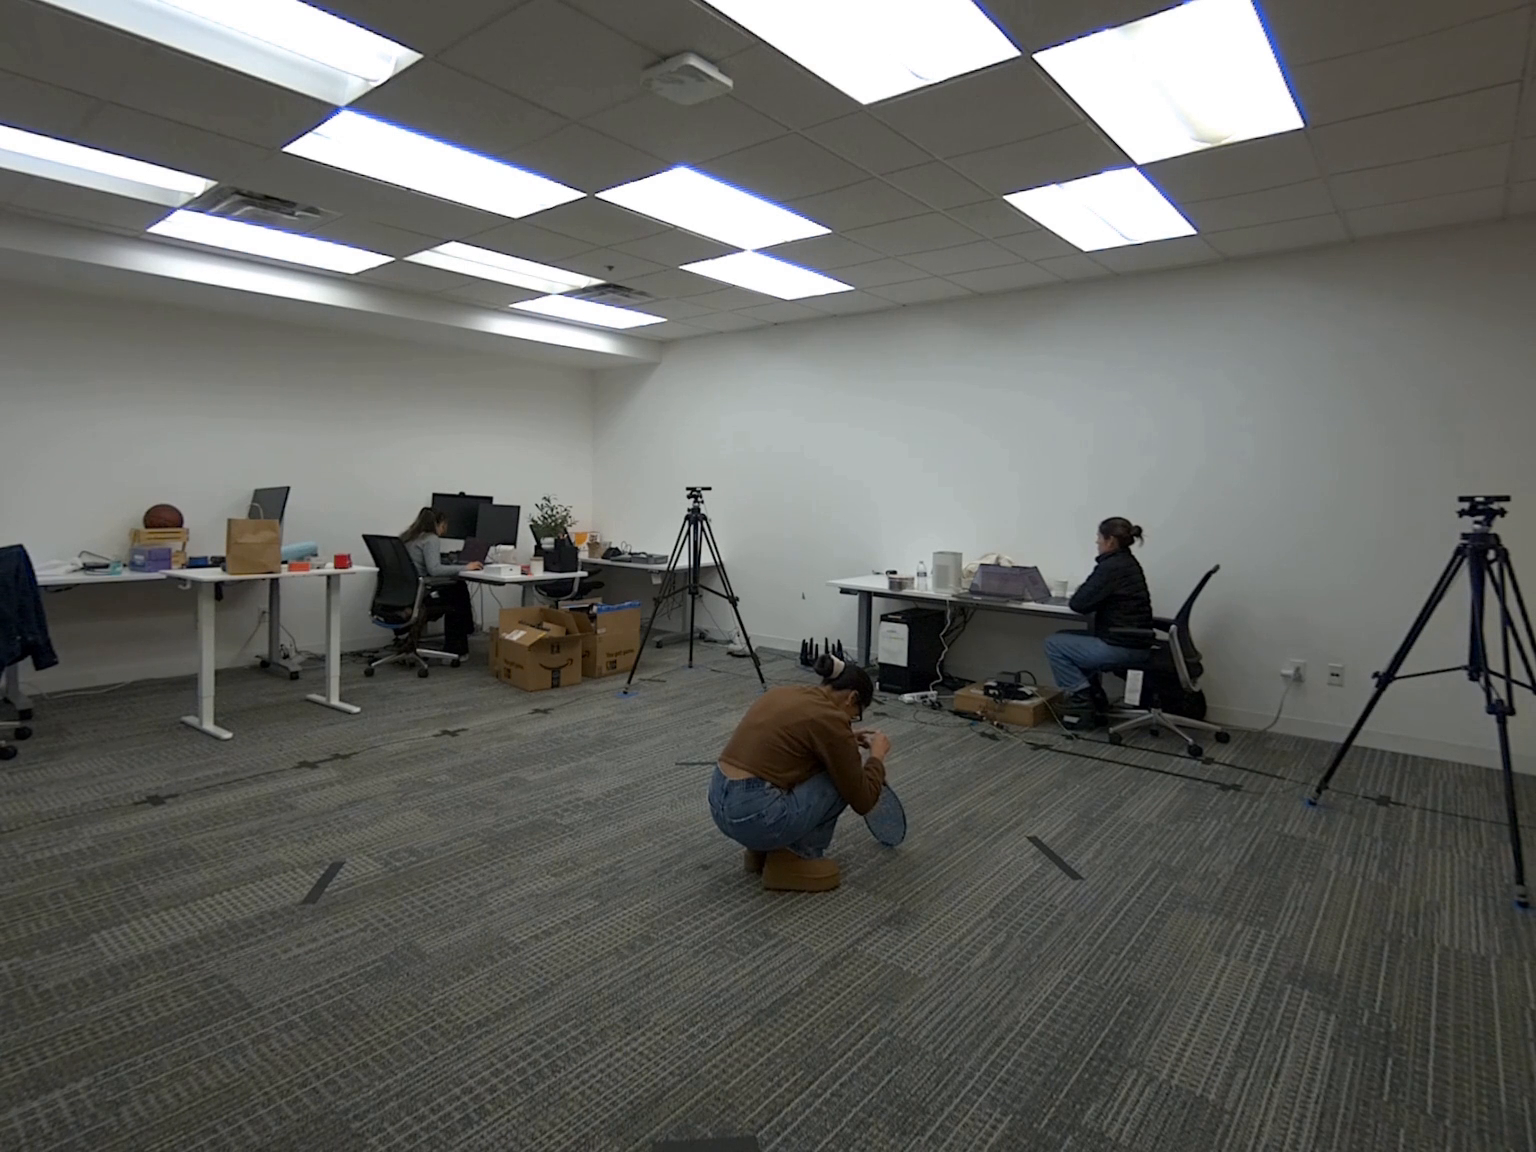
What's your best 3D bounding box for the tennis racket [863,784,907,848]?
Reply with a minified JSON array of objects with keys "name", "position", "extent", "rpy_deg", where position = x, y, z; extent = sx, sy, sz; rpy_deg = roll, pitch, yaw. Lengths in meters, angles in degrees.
[{"name":"tennis racket","position":[0.427,0.848,3.317],"extent":[0.031,0.430,0.220],"rpy_deg":[-16,9,-42]}]
